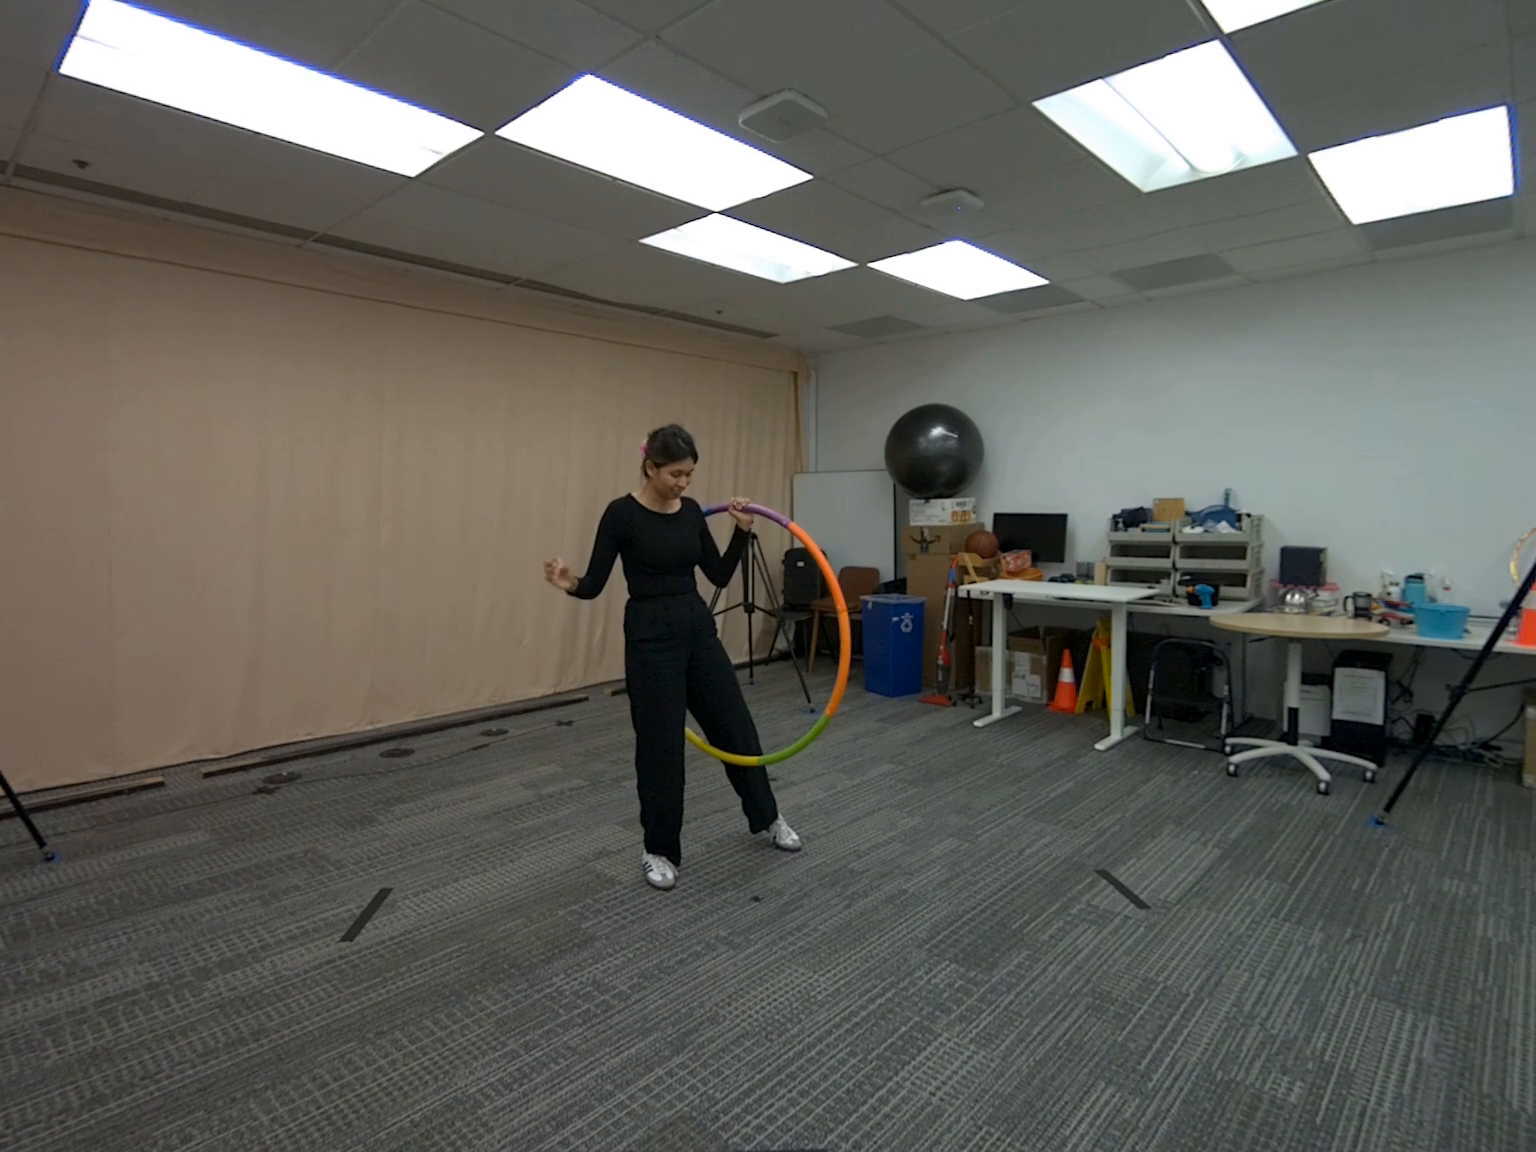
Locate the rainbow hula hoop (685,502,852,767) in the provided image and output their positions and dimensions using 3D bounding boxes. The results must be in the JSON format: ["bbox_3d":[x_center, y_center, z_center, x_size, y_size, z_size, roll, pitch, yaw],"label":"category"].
[{"bbox_3d":[-0.122,0.214,3.184,1.010,0.977,0.034,3,2,36],"label":"rainbow hula hoop"}]
